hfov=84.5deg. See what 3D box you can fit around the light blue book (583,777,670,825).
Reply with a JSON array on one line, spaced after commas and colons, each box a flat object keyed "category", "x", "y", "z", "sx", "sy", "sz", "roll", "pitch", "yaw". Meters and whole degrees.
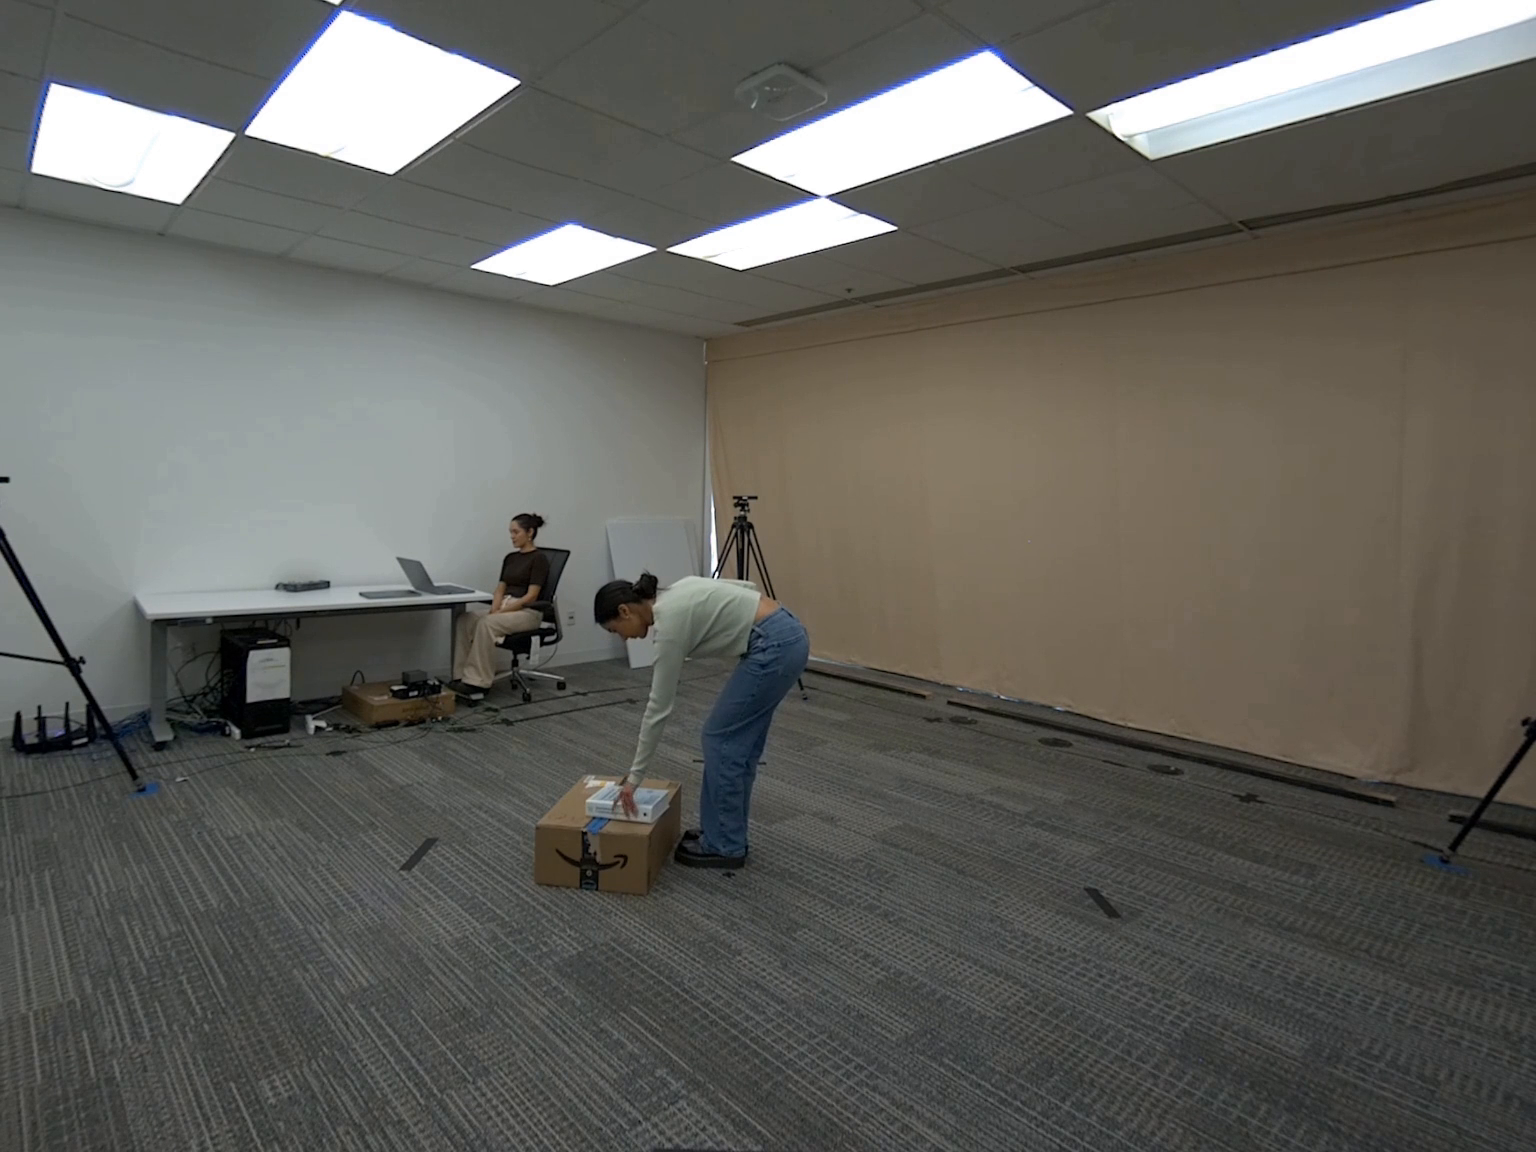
[{"category": "light blue book", "x": -0.531, "y": 0.851, "z": 3.147, "sx": 0.264, "sy": 0.059, "sz": 0.189, "roll": 1, "pitch": 4, "yaw": 15}]
